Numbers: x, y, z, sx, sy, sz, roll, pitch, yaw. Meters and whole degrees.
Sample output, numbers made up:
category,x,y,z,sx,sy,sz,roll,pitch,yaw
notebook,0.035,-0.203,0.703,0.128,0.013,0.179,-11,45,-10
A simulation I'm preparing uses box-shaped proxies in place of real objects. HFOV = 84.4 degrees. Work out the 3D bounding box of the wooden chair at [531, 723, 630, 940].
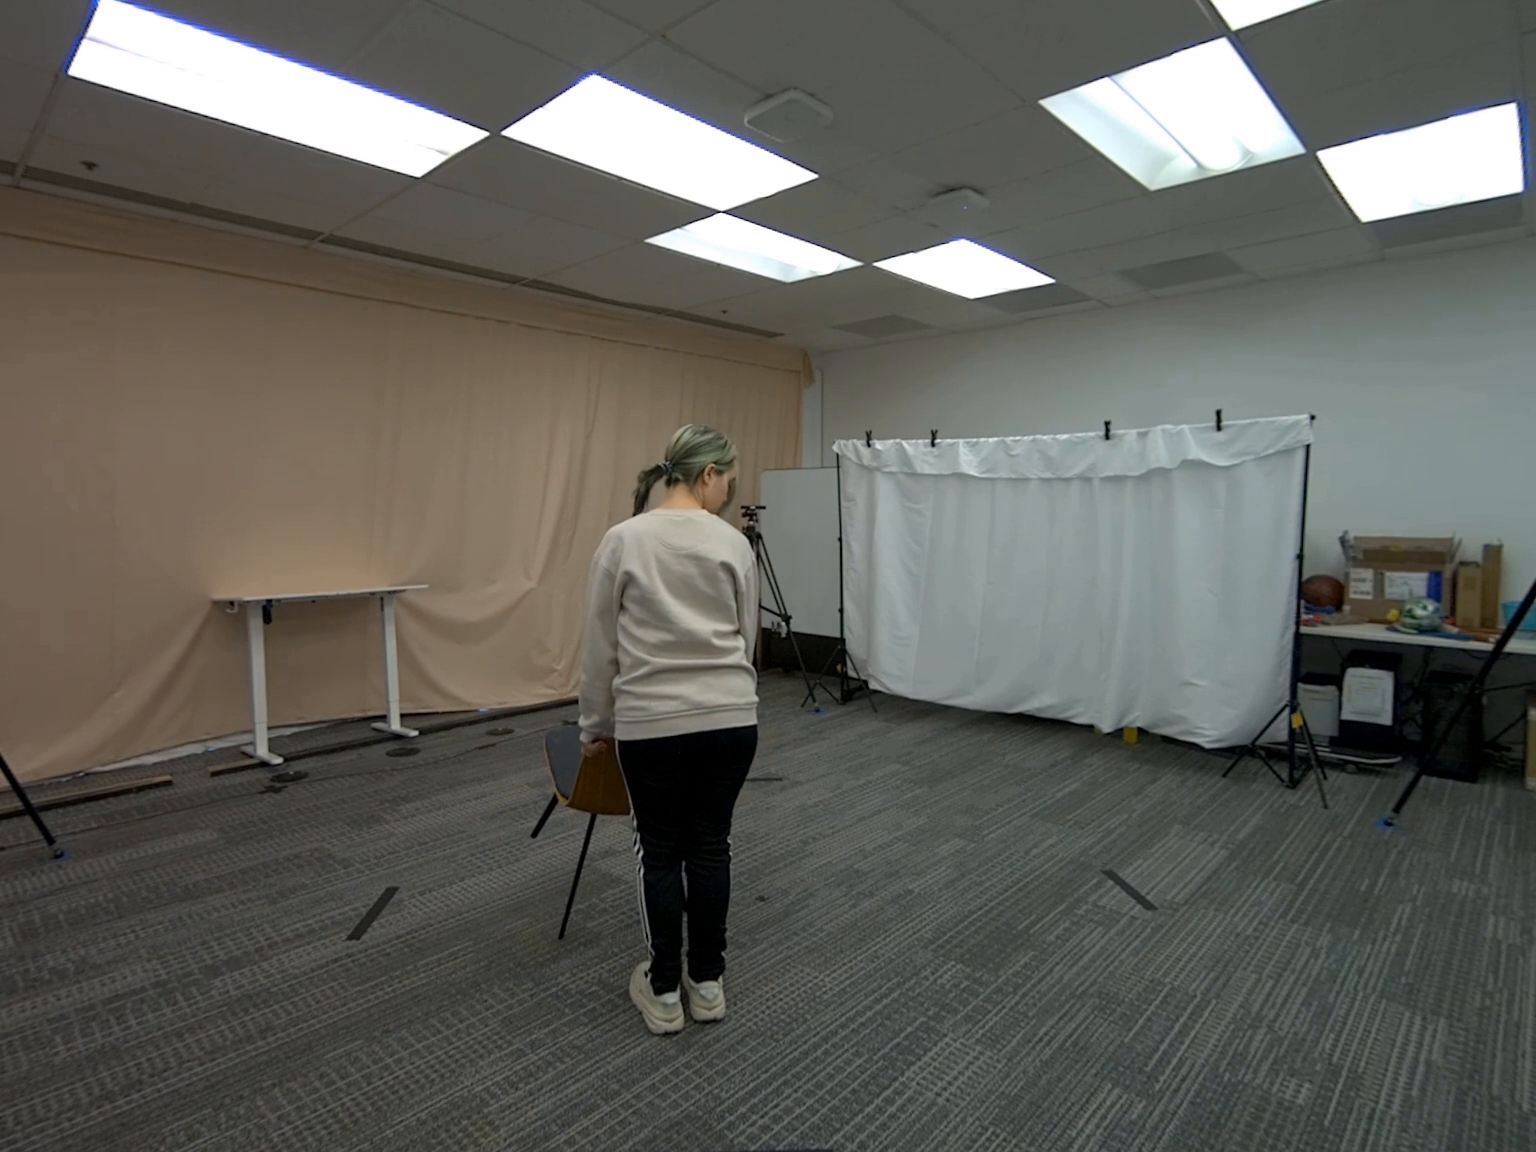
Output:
category,x,y,z,sx,sy,sz,roll,pitch,yaw
wooden chair,-0.490,0.675,2.799,0.466,0.869,0.541,-3,34,-27
